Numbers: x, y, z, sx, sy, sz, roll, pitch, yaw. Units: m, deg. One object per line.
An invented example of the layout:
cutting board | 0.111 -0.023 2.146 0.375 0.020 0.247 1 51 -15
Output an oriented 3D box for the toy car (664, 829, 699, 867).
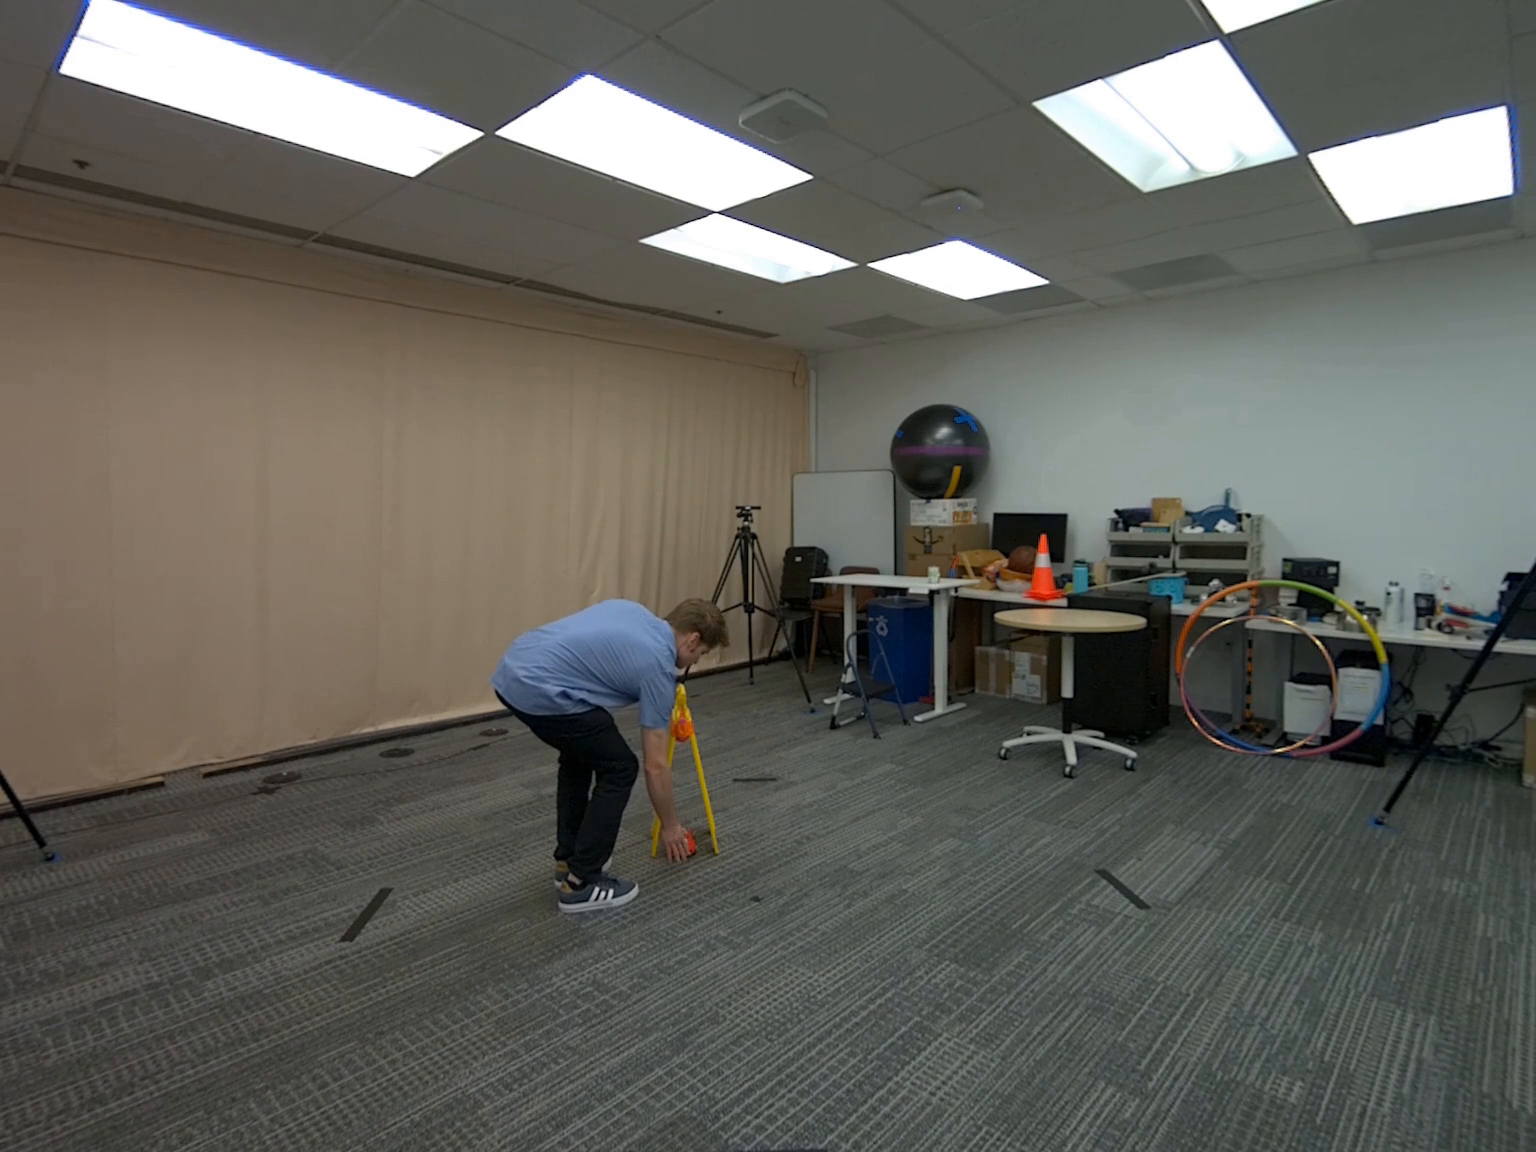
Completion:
toy car | -0.353 1.089 3.404 0.129 0.083 0.255 0 -5 -6
